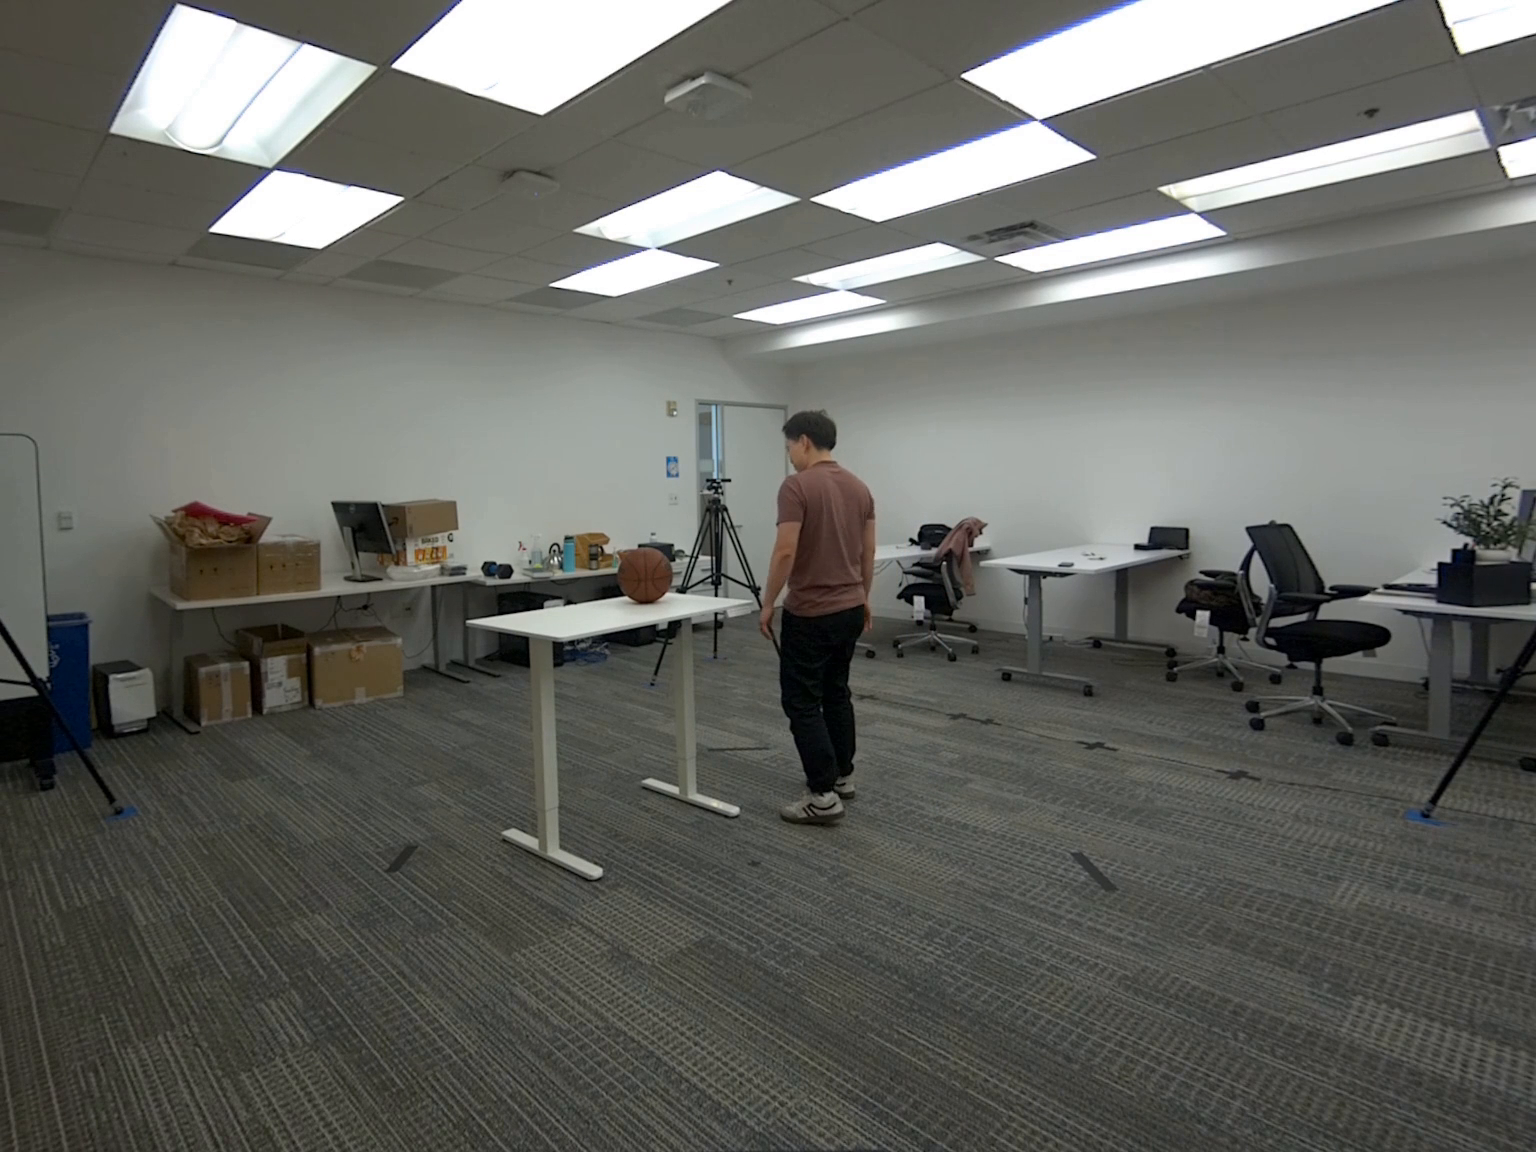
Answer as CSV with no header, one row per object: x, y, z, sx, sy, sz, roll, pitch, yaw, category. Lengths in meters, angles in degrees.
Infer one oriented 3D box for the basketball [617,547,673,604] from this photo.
-0.520,-0.005,3.634,0.236,0.235,0.237,-1,5,-2,basketball
